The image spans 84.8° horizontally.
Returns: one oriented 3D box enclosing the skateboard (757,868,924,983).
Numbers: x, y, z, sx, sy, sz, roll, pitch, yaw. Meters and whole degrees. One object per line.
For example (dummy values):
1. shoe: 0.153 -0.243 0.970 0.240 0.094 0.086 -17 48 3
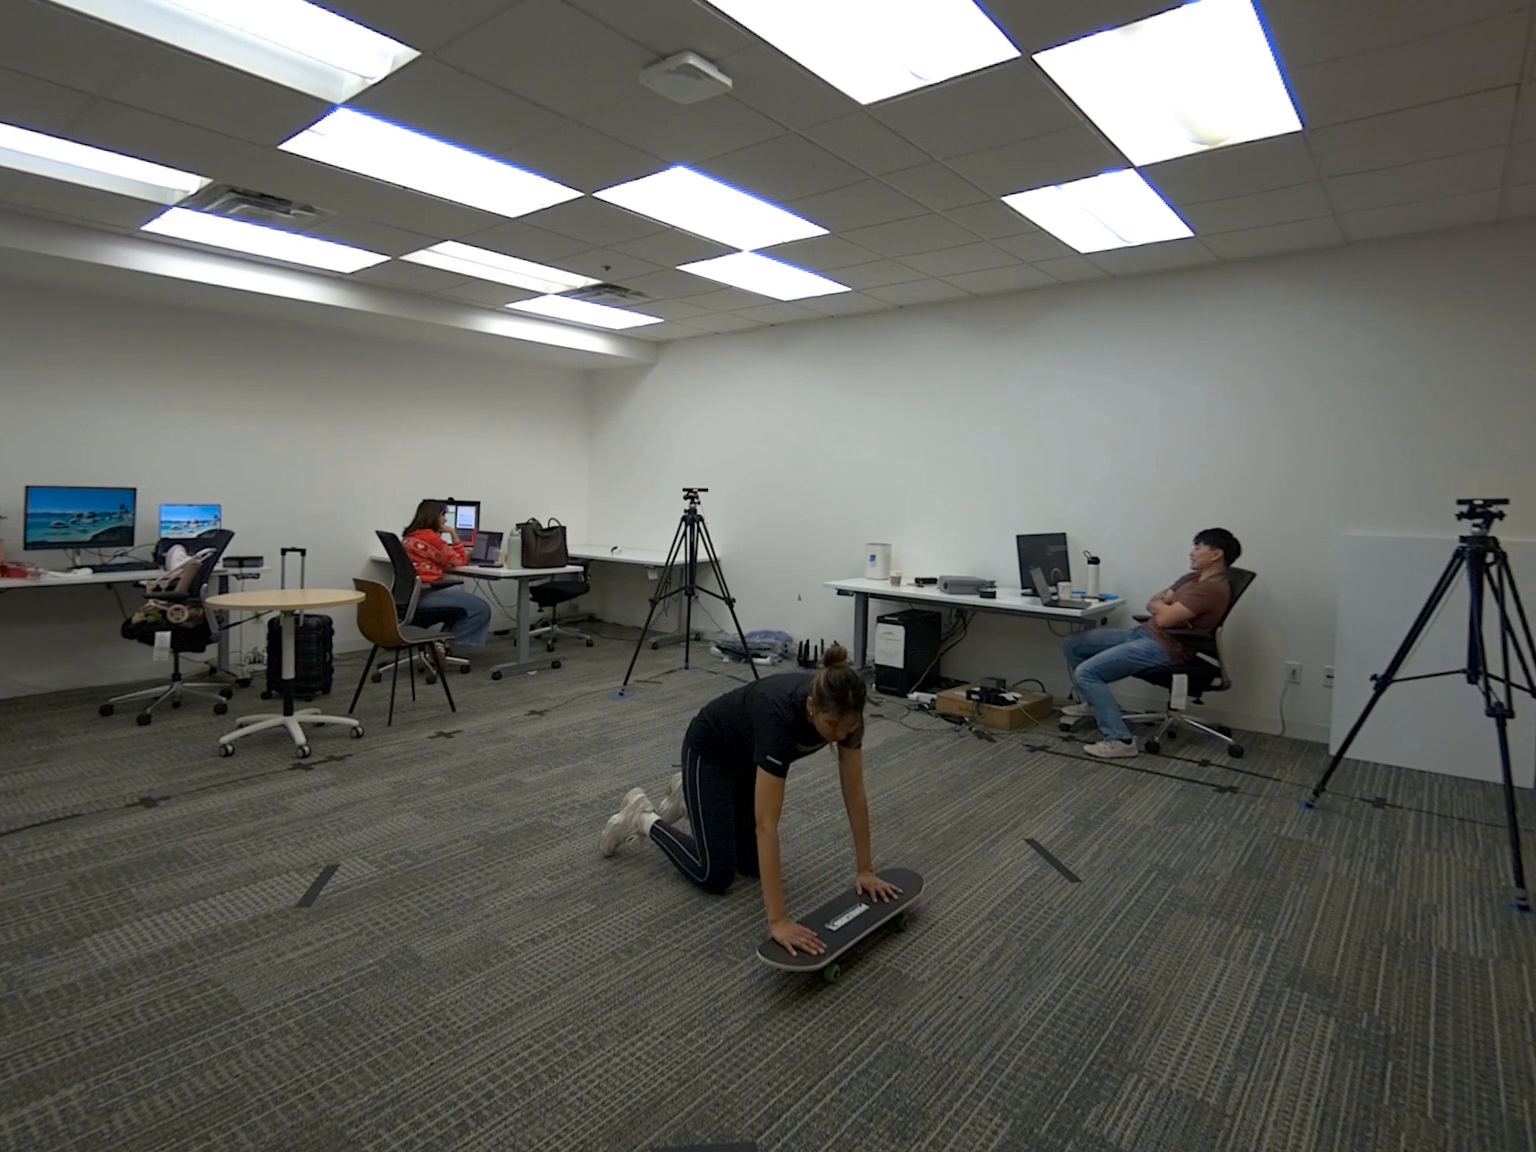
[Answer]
1. skateboard: 0.235 1.070 2.612 0.200 0.110 0.762 3 6 39
